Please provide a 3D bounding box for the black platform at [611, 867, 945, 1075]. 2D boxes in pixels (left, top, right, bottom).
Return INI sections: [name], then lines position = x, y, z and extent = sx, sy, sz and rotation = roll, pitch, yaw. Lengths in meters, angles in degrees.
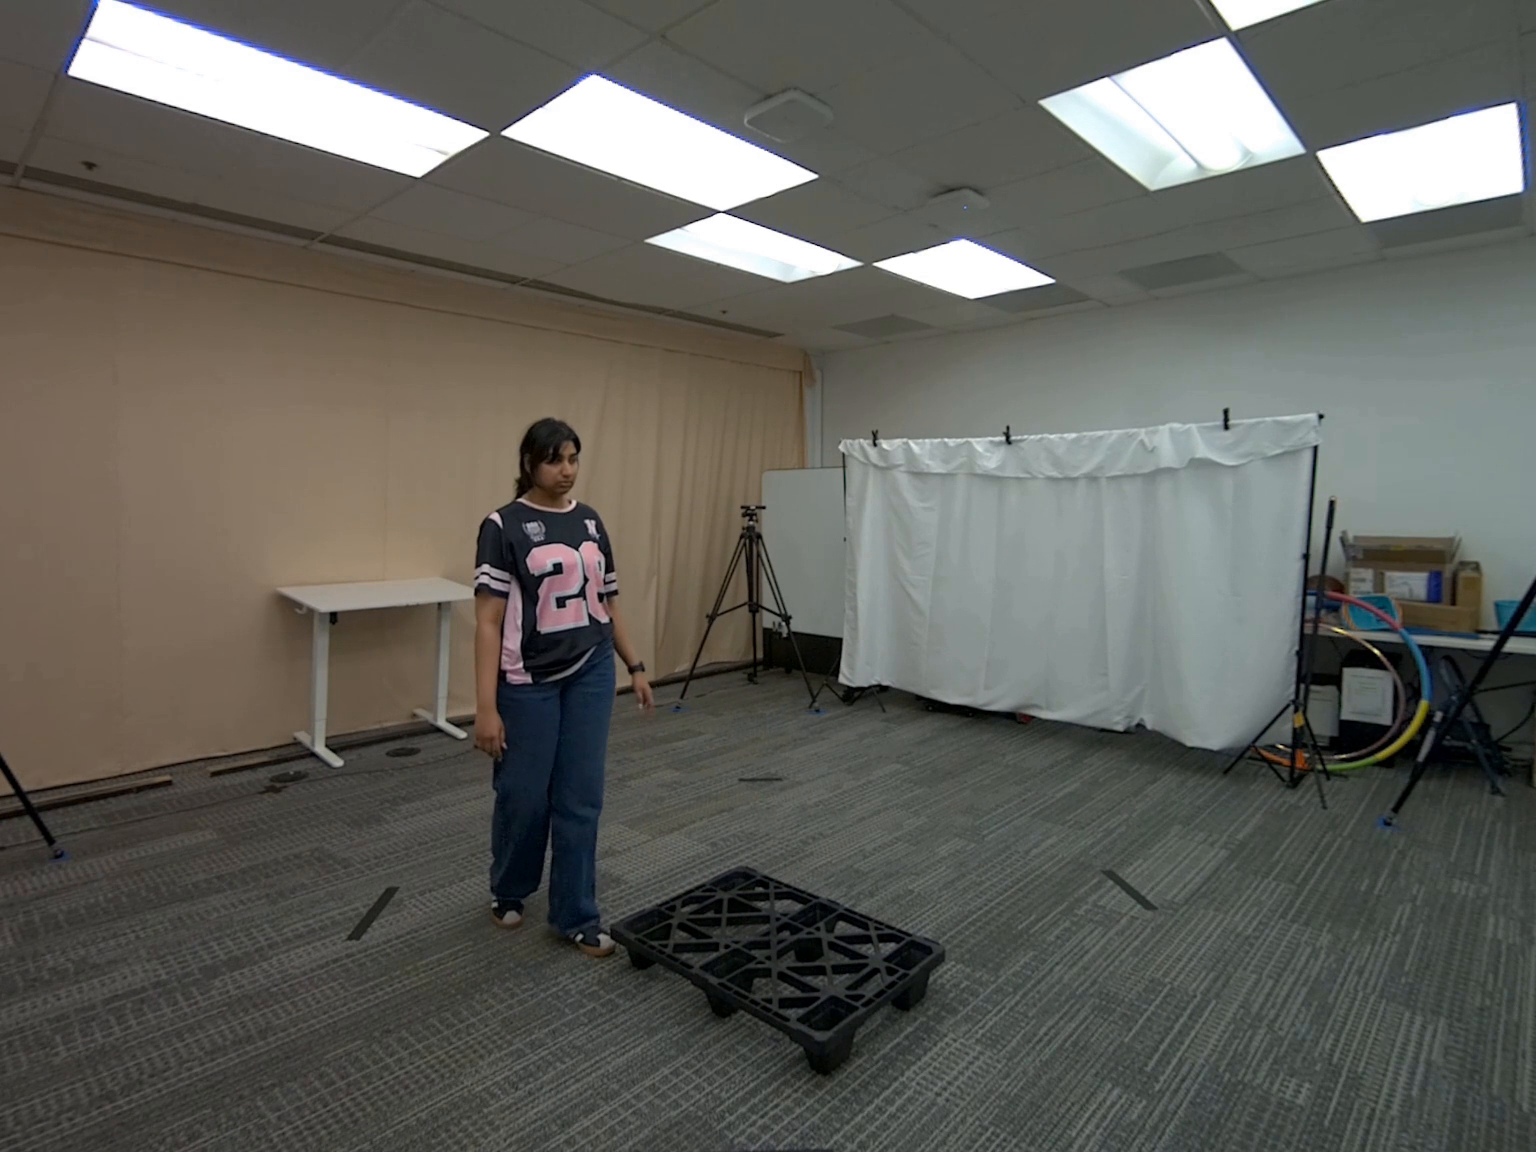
[black platform]
position = 0.019, 1.122, 2.471
extent = 0.832, 0.143, 0.586
rotation = 4, 6, 42
